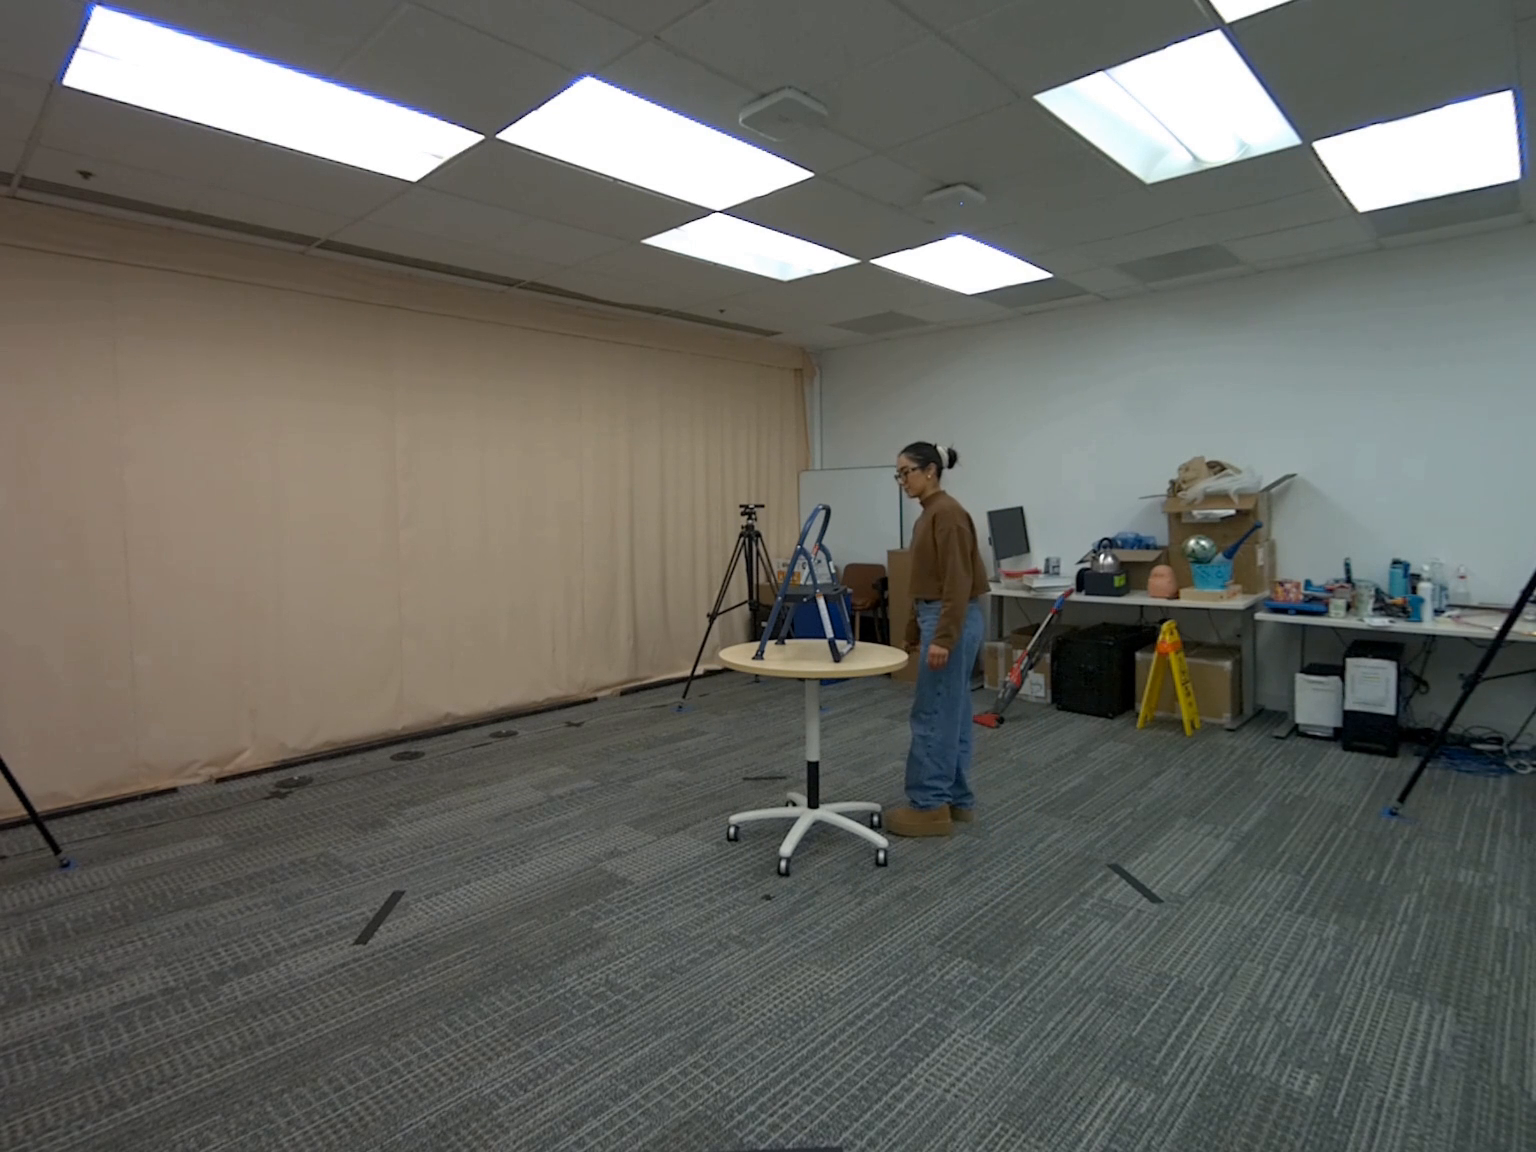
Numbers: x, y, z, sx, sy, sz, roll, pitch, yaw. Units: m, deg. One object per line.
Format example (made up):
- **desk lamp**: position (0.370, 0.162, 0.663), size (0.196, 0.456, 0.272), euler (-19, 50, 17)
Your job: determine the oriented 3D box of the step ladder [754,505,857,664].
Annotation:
- **step ladder**: position (0.160, 0.016, 3.448), size (0.355, 0.605, 0.424), euler (0, 3, 16)
